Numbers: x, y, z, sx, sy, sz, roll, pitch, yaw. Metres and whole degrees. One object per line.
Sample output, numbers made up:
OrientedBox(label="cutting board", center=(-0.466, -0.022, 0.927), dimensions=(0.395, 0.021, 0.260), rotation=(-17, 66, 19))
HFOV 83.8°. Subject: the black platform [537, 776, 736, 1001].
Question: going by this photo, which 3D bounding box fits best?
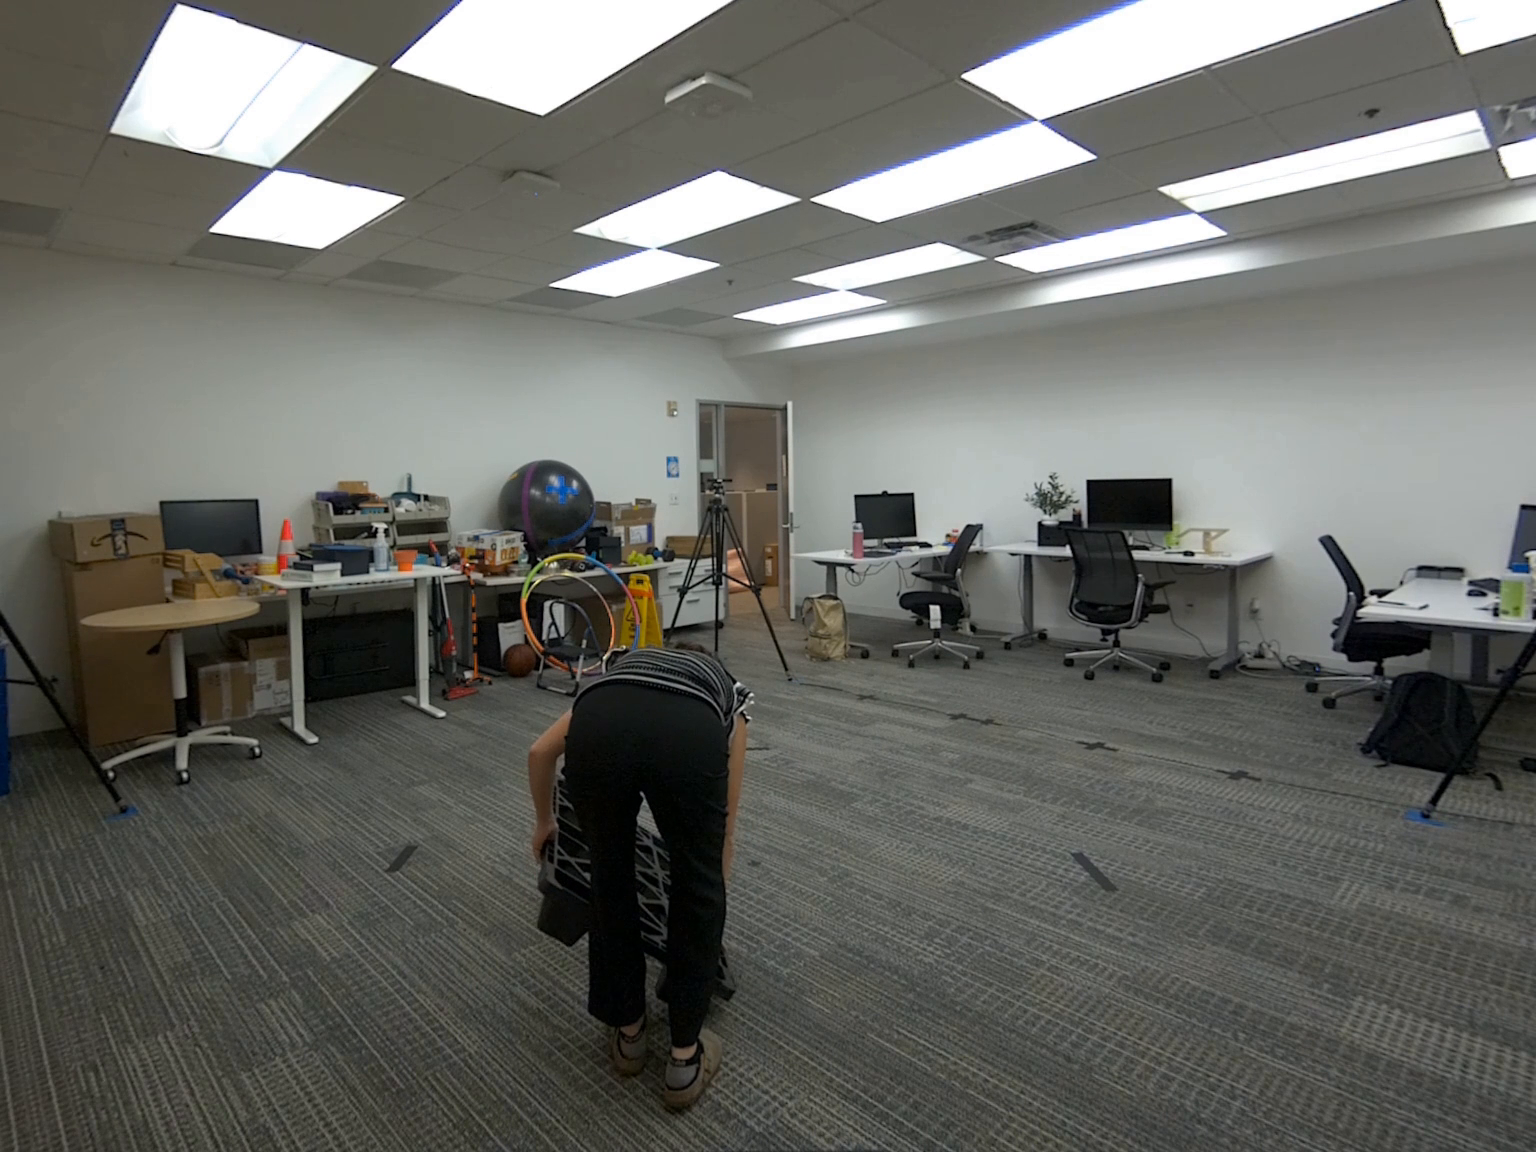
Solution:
OrientedBox(label="black platform", center=(-0.442, 0.931, 2.548), dimensions=(0.597, 0.143, 0.817), rotation=(35, -3, -12))
